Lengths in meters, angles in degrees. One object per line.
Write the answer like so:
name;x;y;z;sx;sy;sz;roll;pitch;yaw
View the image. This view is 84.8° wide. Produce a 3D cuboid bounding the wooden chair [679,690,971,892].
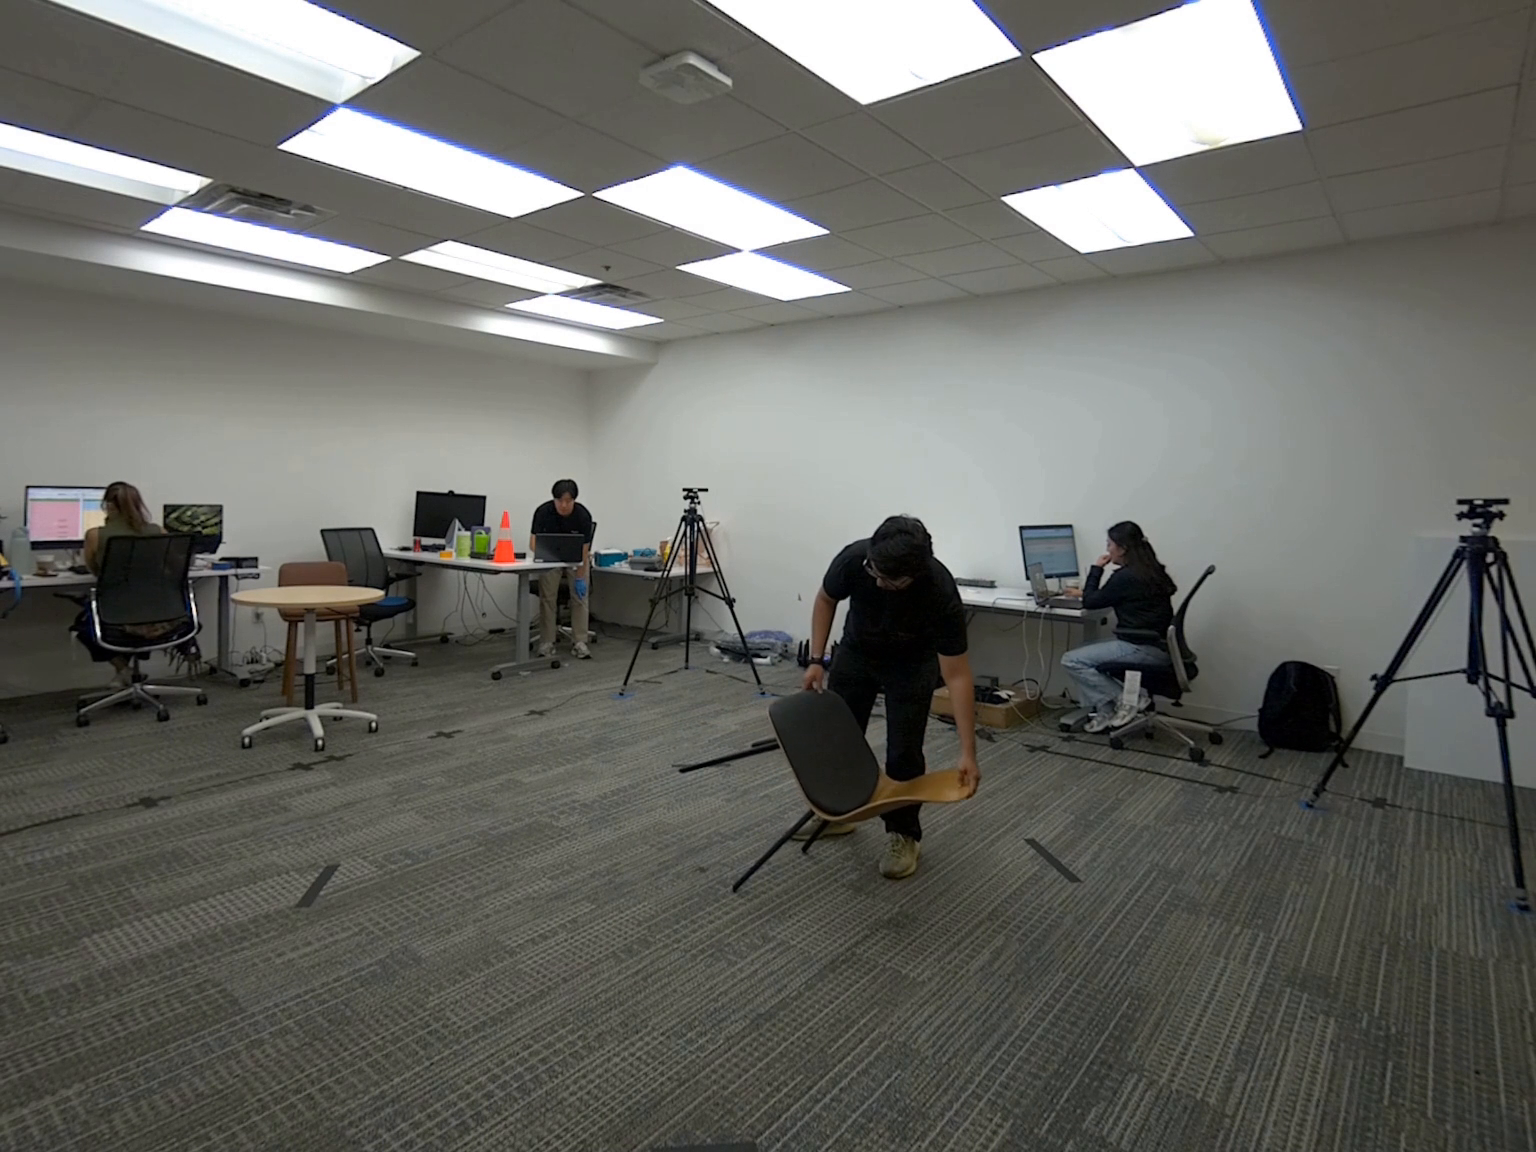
wooden chair;0.185;0.663;2.947;0.885;0.535;0.463;-33;-19;33
